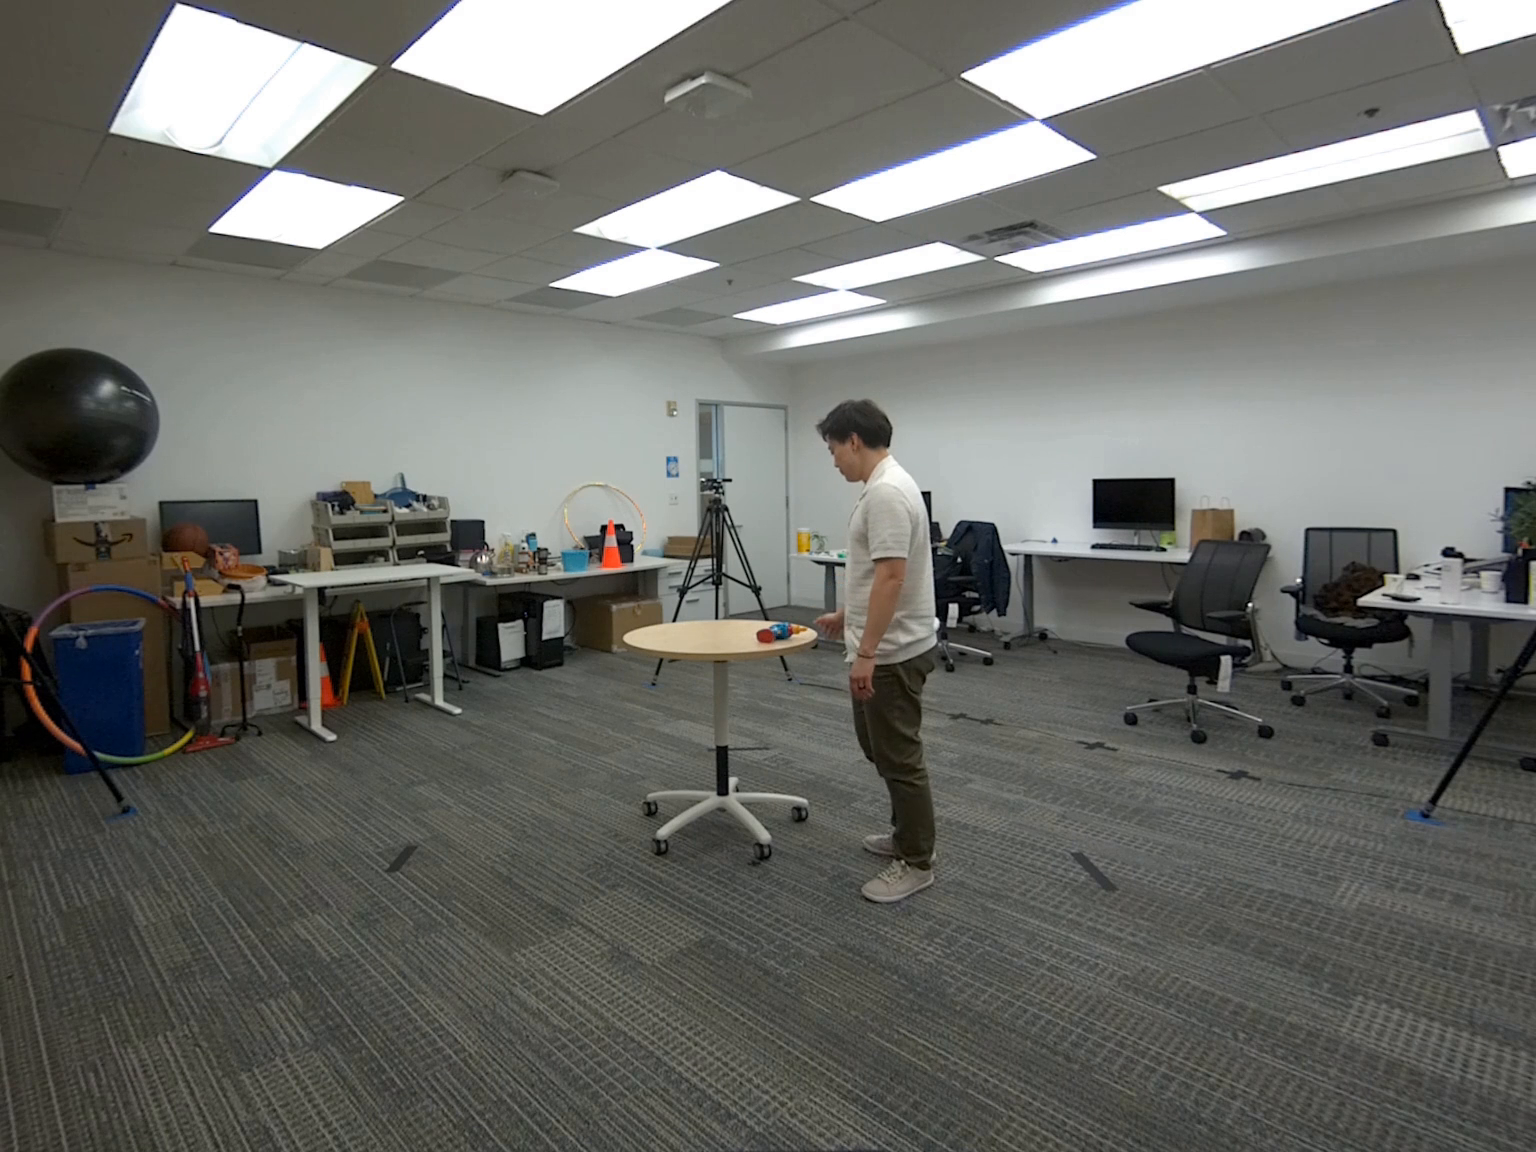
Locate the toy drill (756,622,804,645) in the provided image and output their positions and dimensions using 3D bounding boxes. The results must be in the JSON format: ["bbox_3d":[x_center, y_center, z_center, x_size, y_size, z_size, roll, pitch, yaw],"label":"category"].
[{"bbox_3d":[0.060,0.212,3.223,0.174,0.061,0.143,-5,5,30],"label":"toy drill"}]
